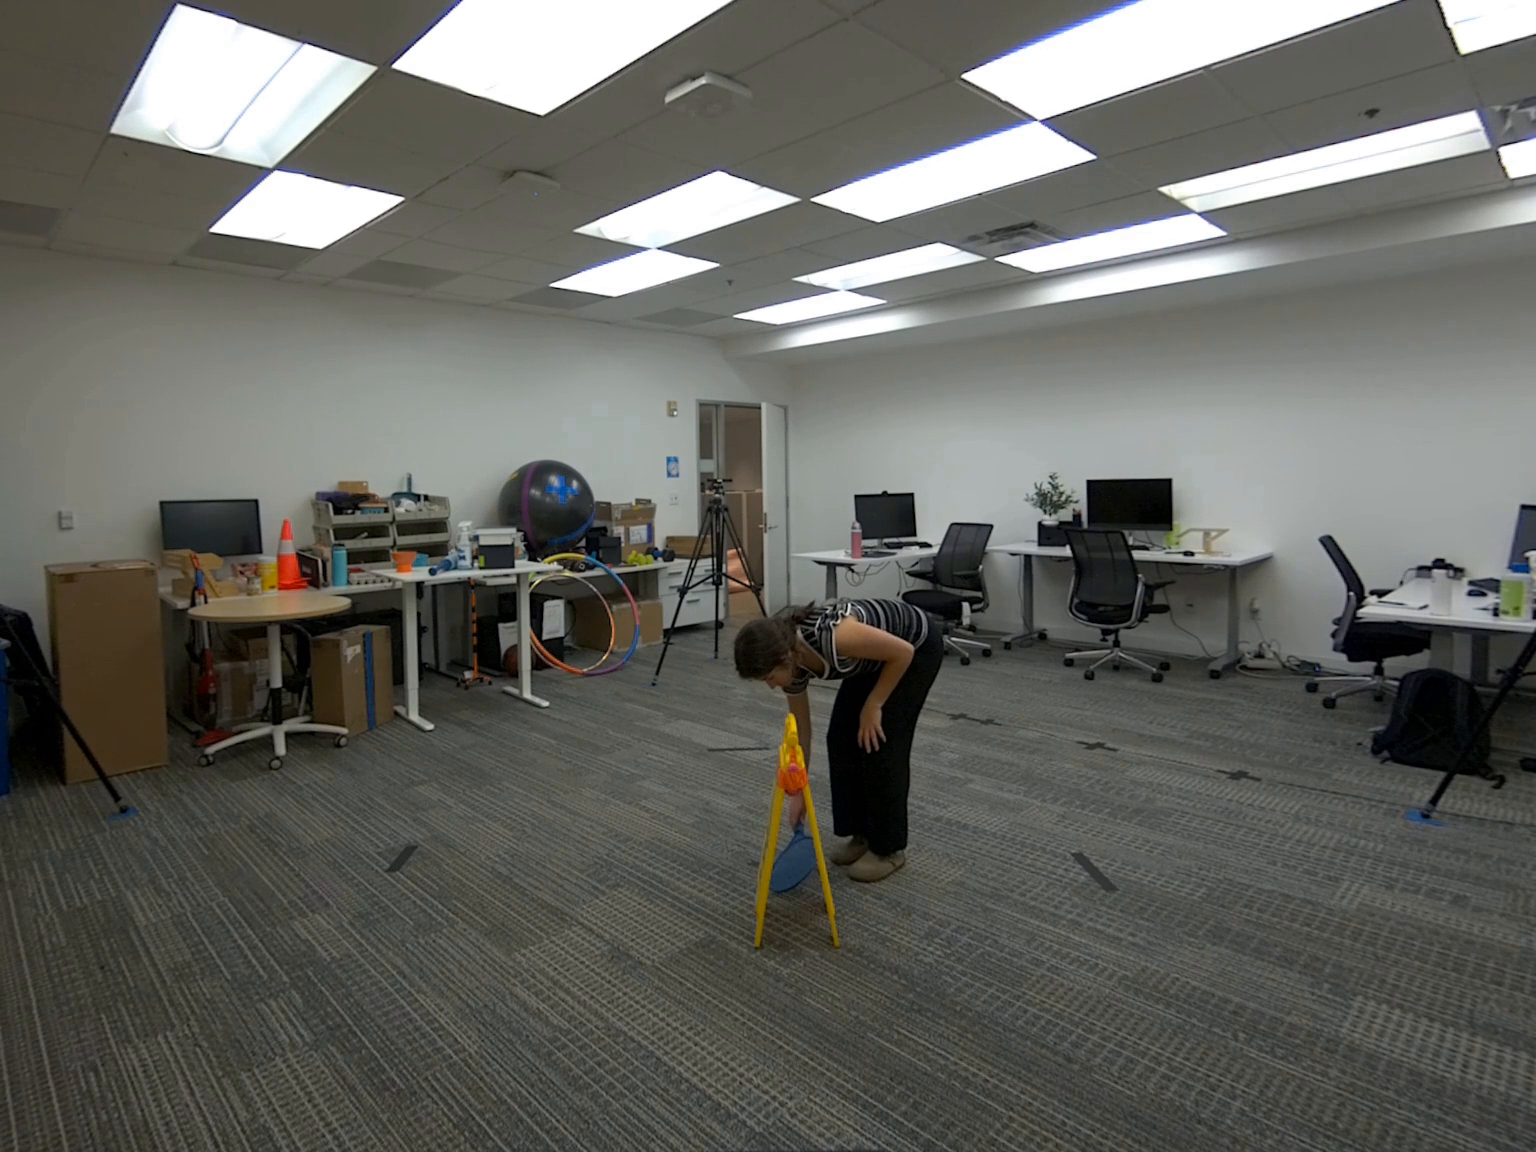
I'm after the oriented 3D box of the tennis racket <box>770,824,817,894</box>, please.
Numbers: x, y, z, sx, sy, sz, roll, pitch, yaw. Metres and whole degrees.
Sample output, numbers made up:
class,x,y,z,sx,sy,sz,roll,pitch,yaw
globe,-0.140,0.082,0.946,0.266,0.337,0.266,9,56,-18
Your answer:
class,x,y,z,sx,sy,sz,roll,pitch,yaw
tennis racket,0.097,0.976,3.024,0.215,0.031,0.435,-34,10,19
